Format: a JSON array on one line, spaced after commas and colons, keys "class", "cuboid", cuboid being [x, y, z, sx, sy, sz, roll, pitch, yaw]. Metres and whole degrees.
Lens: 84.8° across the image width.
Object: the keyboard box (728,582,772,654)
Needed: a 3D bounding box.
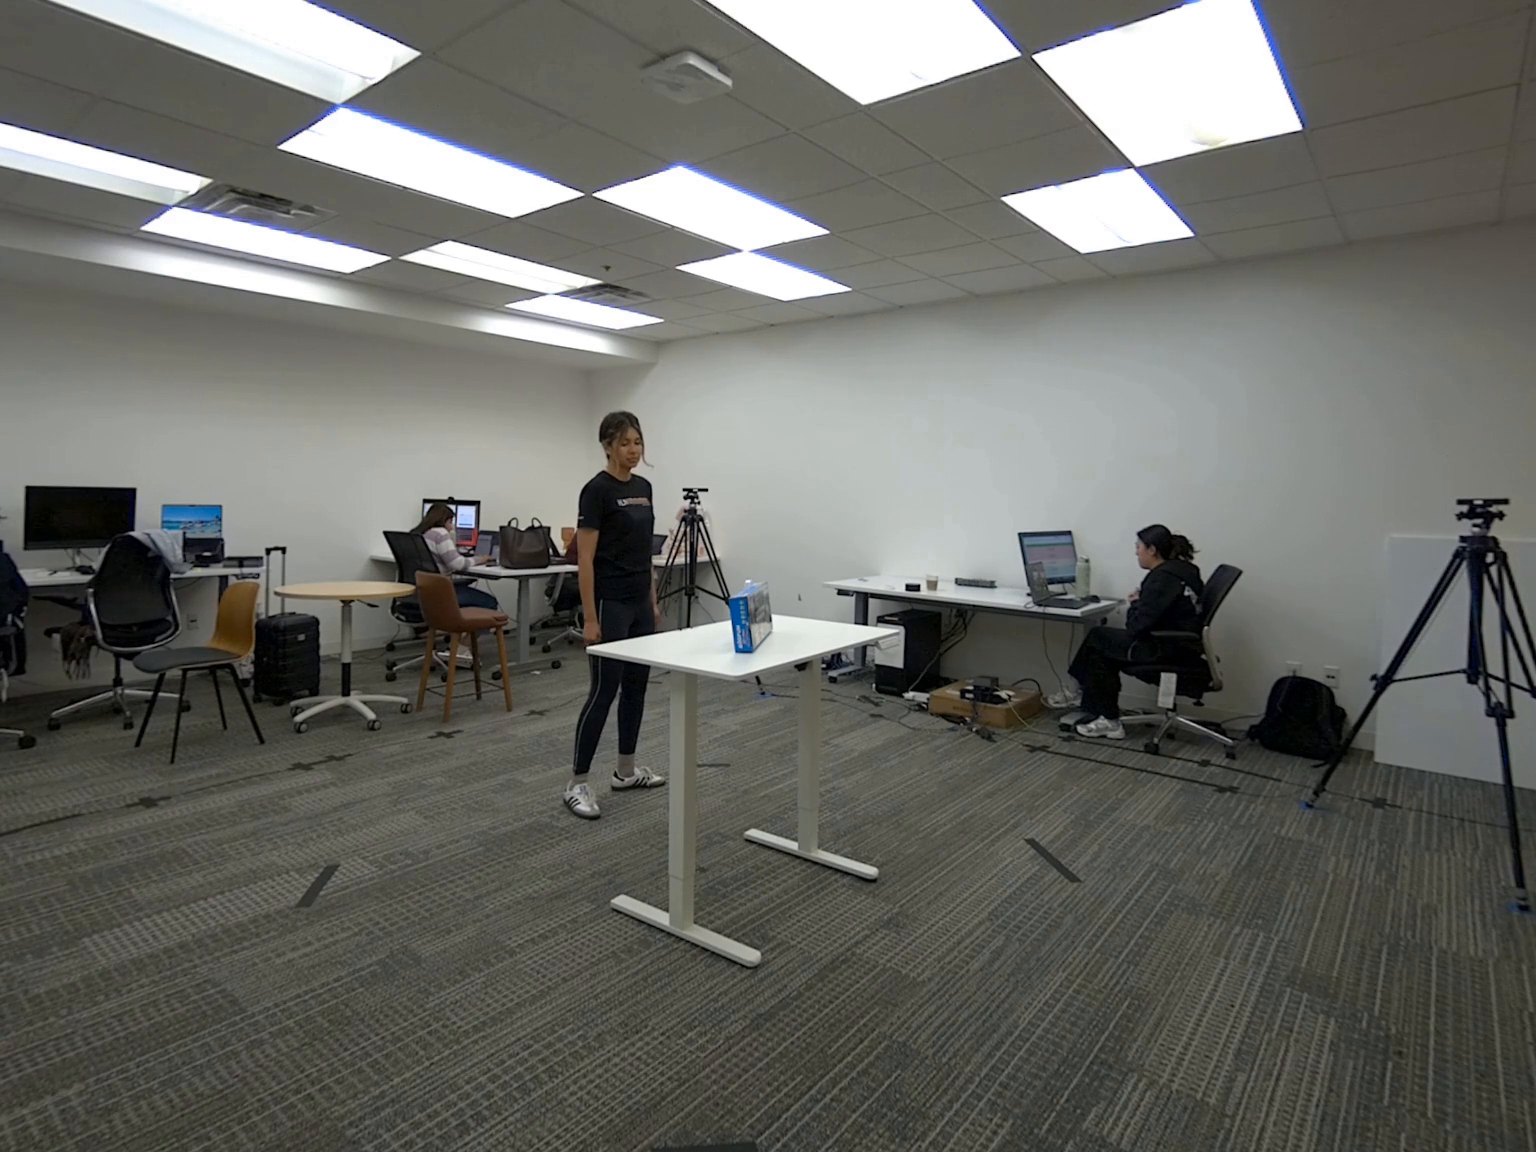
[{"class": "keyboard box", "cuboid": [-0.059, 0.129, 2.841, 0.060, 0.175, 0.434, -6, 5, 9]}]
